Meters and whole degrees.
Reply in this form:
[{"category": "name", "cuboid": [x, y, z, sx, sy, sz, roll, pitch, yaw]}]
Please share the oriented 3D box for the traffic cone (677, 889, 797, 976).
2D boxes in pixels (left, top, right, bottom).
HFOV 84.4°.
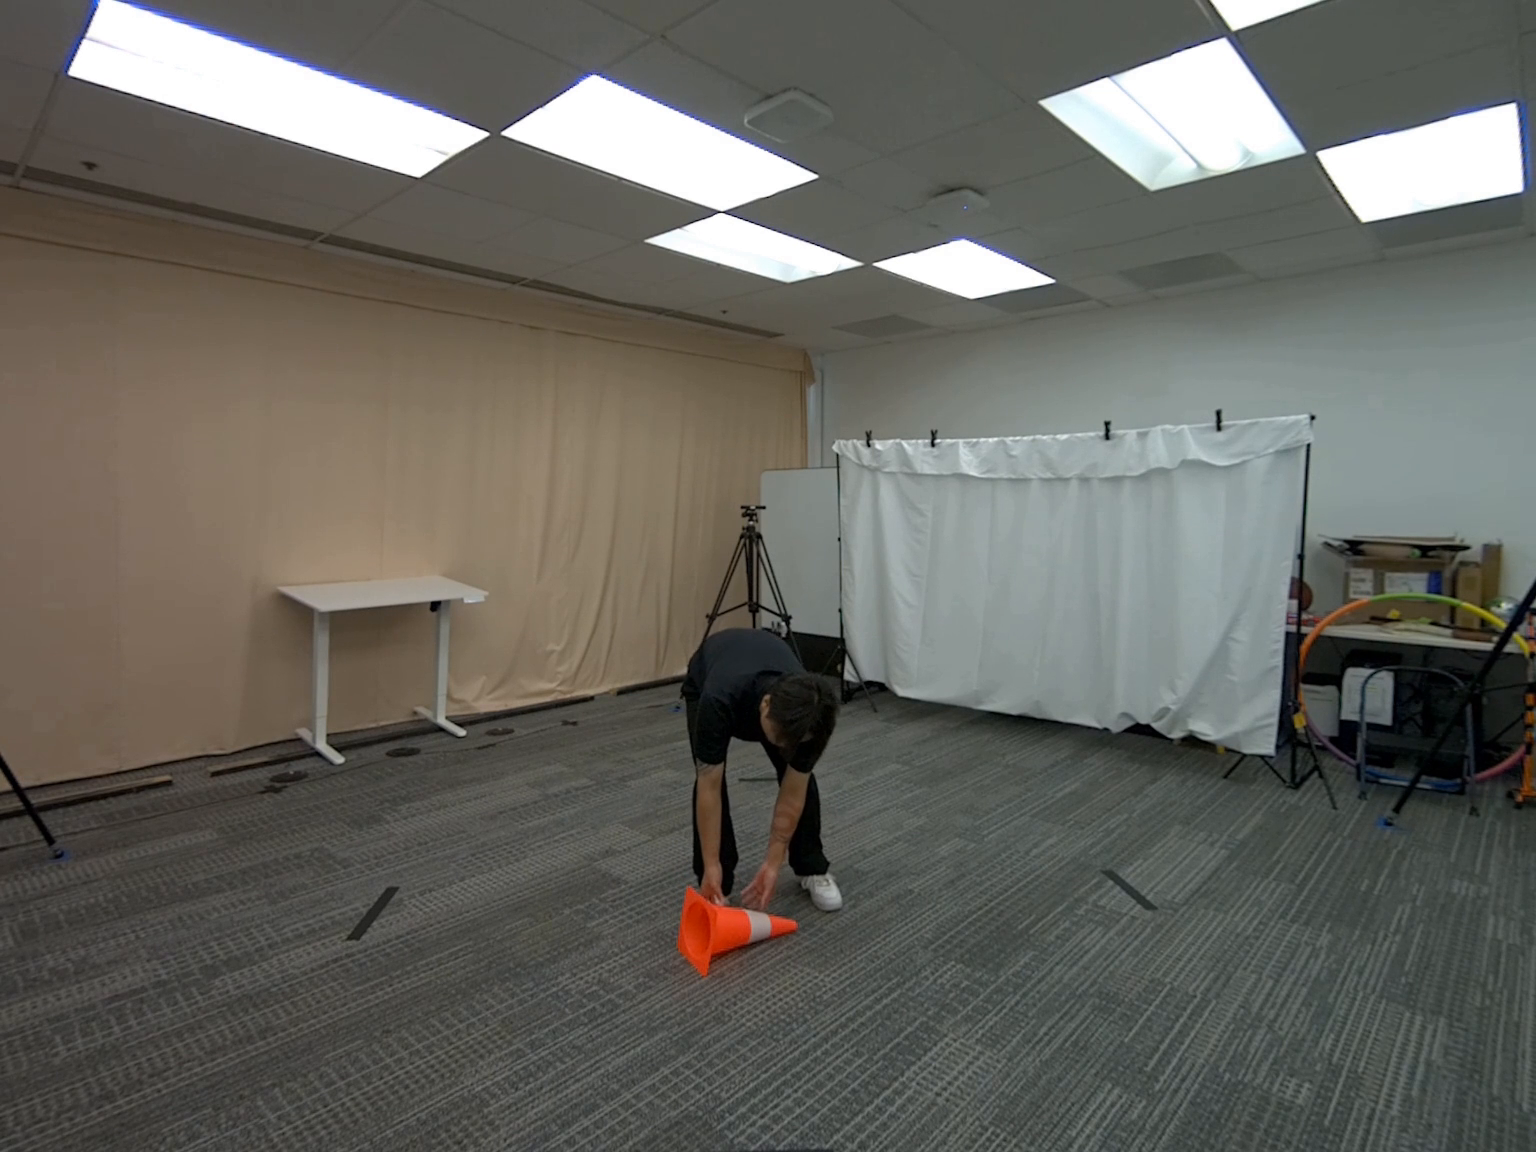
[{"category": "traffic cone", "cuboid": [-0.060, 1.111, 2.665, 0.372, 0.203, 0.211, 11, -1, -31]}]
